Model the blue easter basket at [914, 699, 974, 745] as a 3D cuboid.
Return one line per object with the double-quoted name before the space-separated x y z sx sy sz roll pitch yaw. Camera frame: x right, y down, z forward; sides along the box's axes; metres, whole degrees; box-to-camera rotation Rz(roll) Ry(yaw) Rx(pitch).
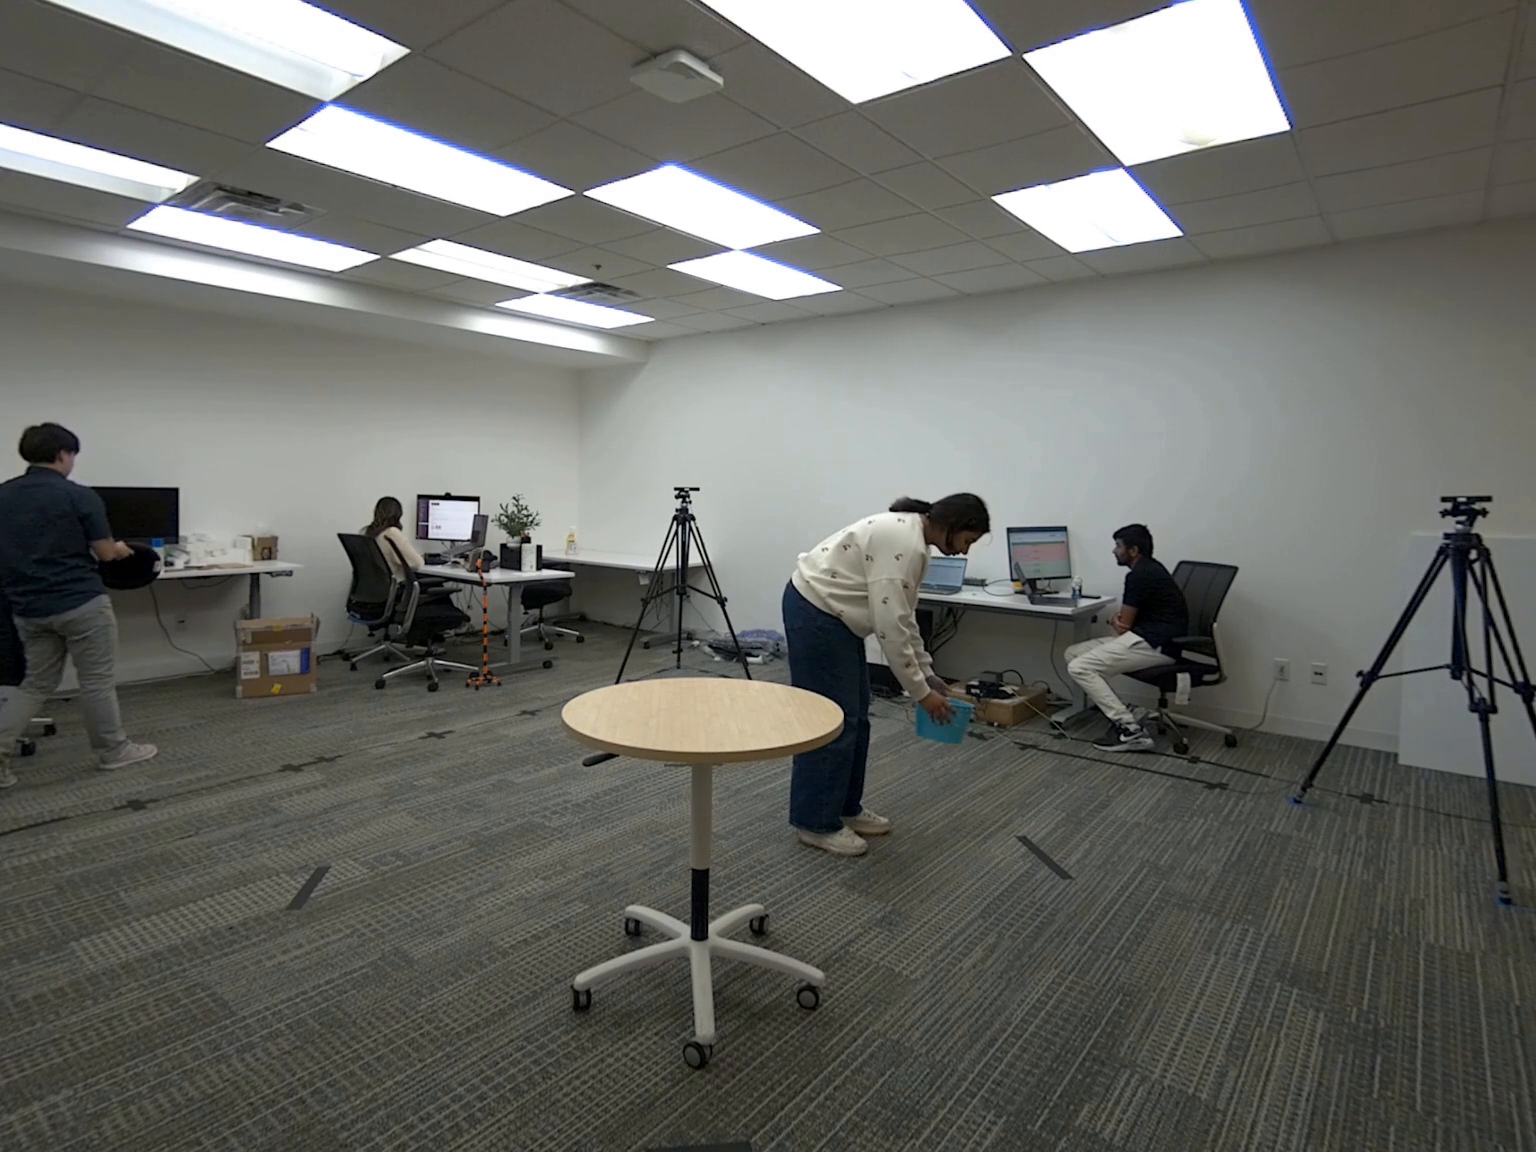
"blue easter basket" 0.673 0.553 3.309 0.243 0.156 0.244 8 1 -2
